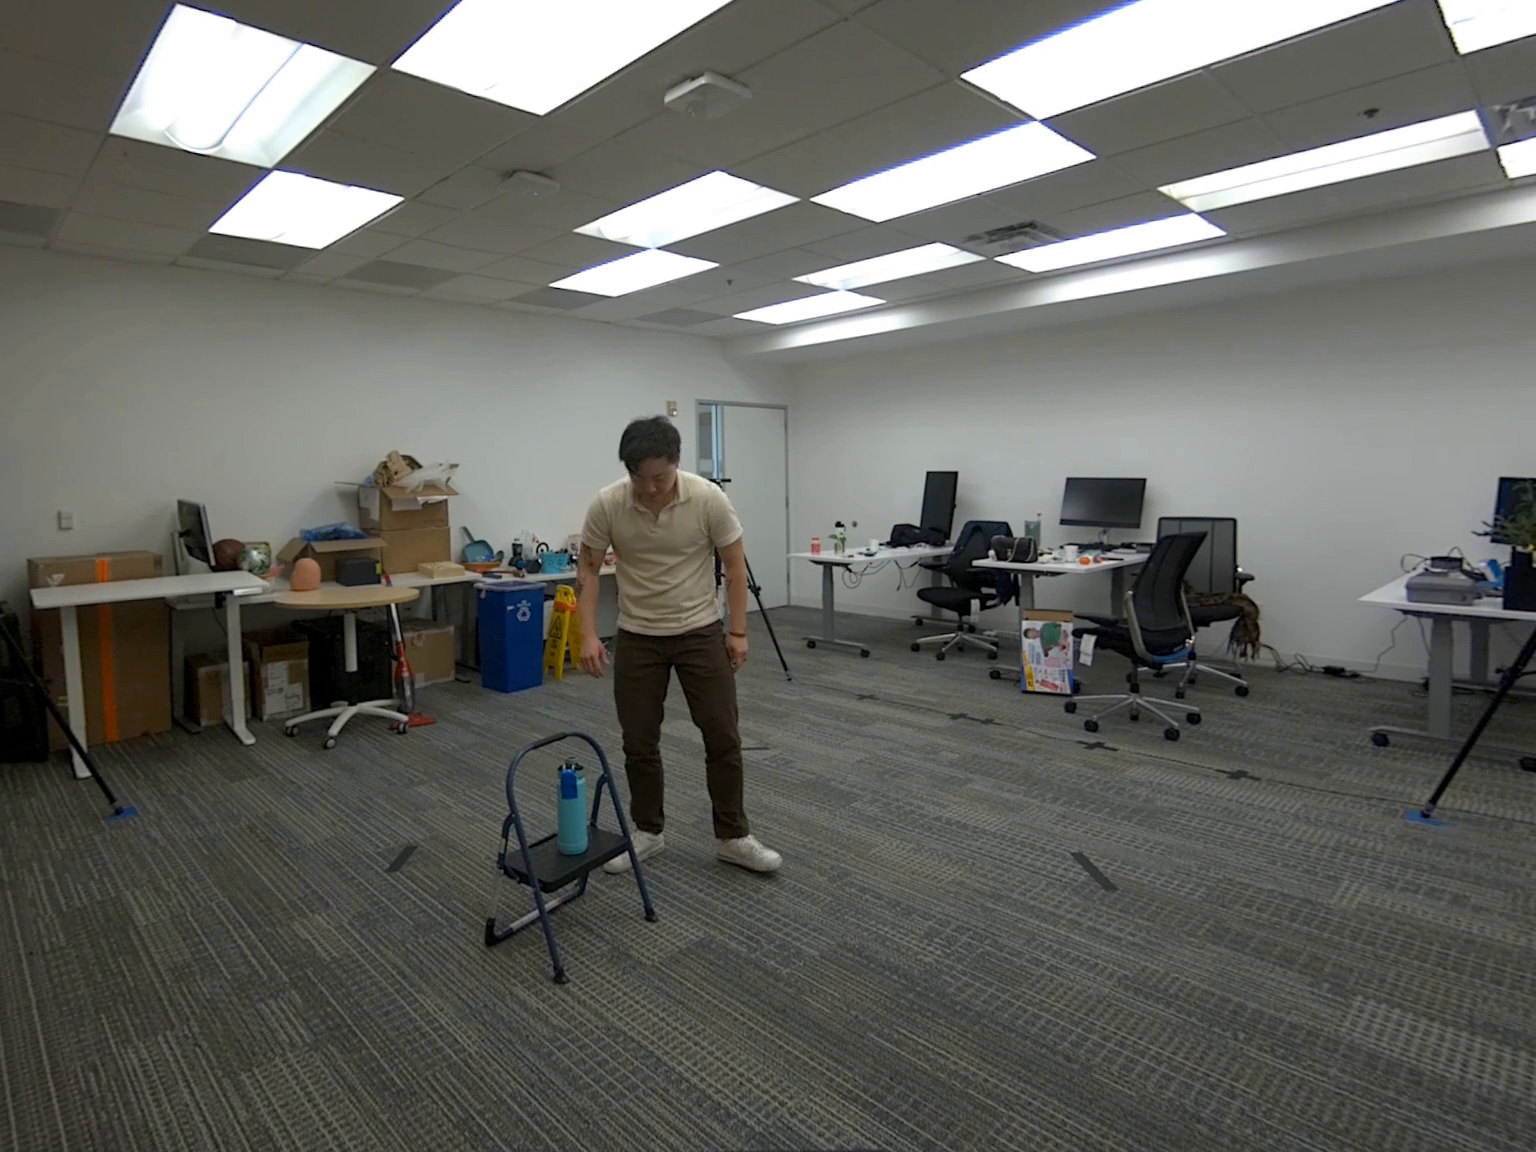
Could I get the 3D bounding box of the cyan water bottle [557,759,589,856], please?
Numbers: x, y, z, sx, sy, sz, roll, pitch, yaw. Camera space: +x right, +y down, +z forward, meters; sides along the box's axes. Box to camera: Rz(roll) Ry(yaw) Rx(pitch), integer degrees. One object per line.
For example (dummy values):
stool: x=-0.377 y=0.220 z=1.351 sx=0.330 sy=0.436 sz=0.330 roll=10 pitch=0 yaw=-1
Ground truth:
cyan water bottle: x=-0.607 y=0.710 z=2.639 sx=0.092 sy=0.281 sz=0.093 roll=-2 pitch=8 yaw=-1
